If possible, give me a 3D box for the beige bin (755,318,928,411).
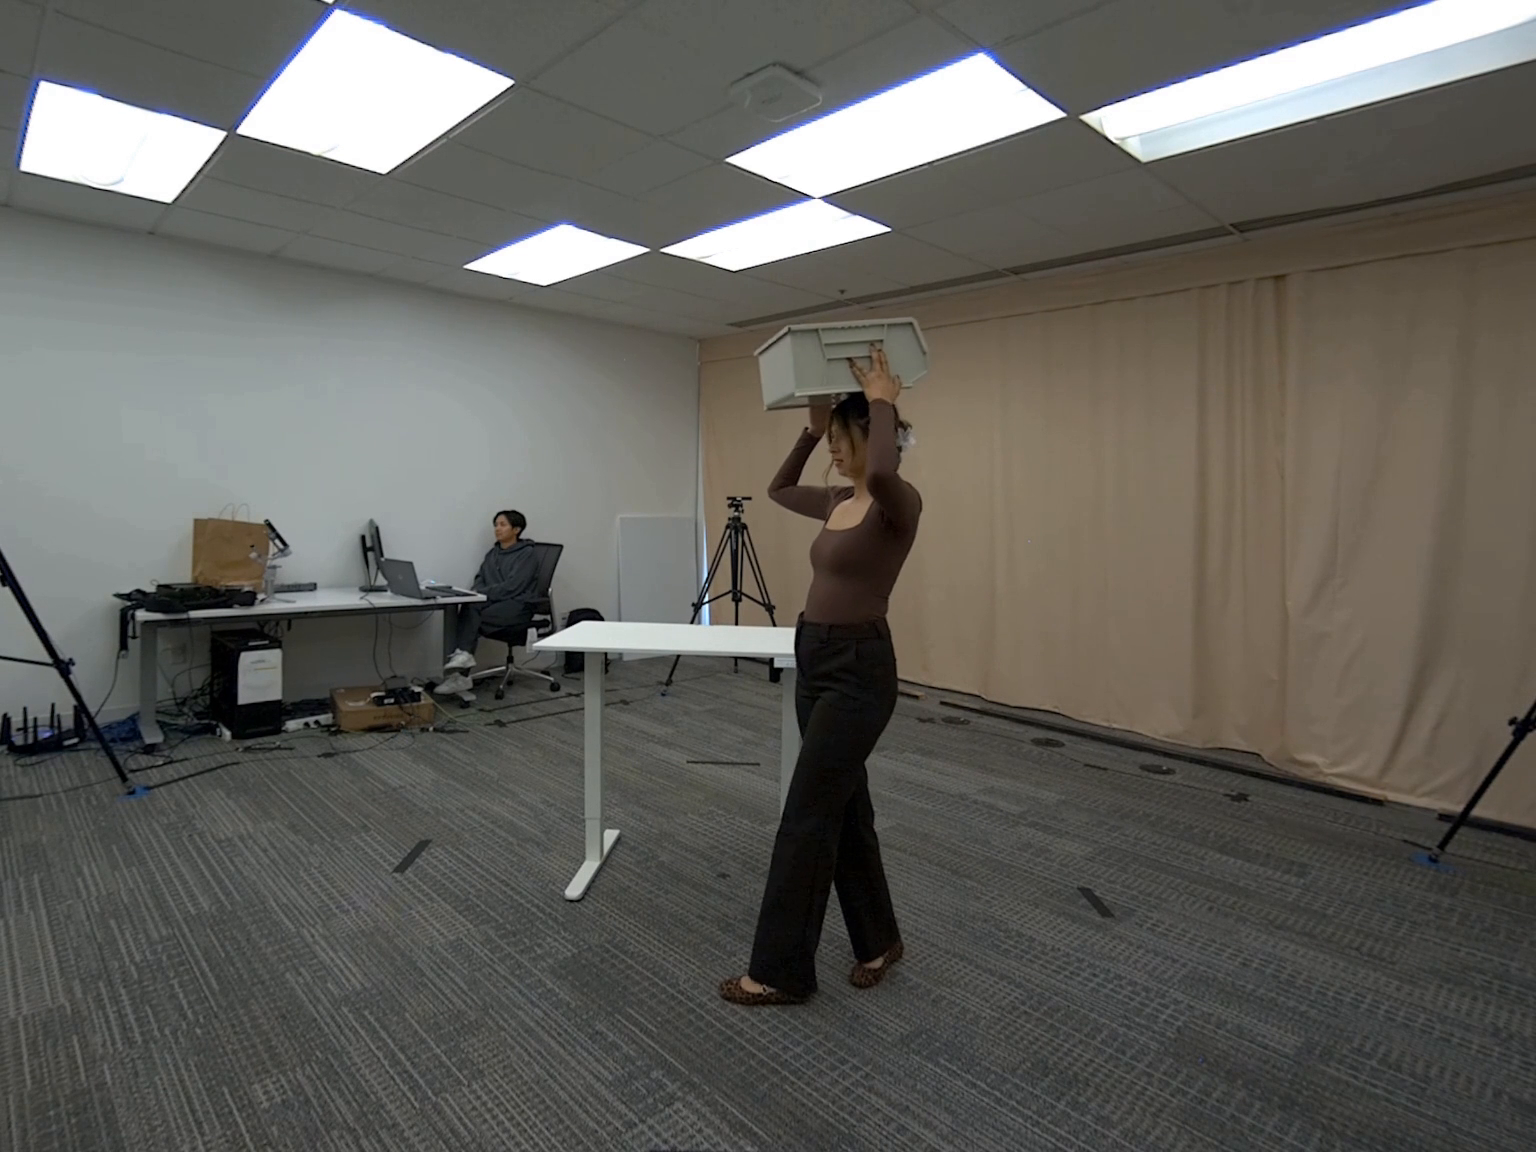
[{"bbox_3d":[0.196,-0.591,2.373,0.374,0.188,0.427,-7,6,-11],"label":"beige bin"}]
